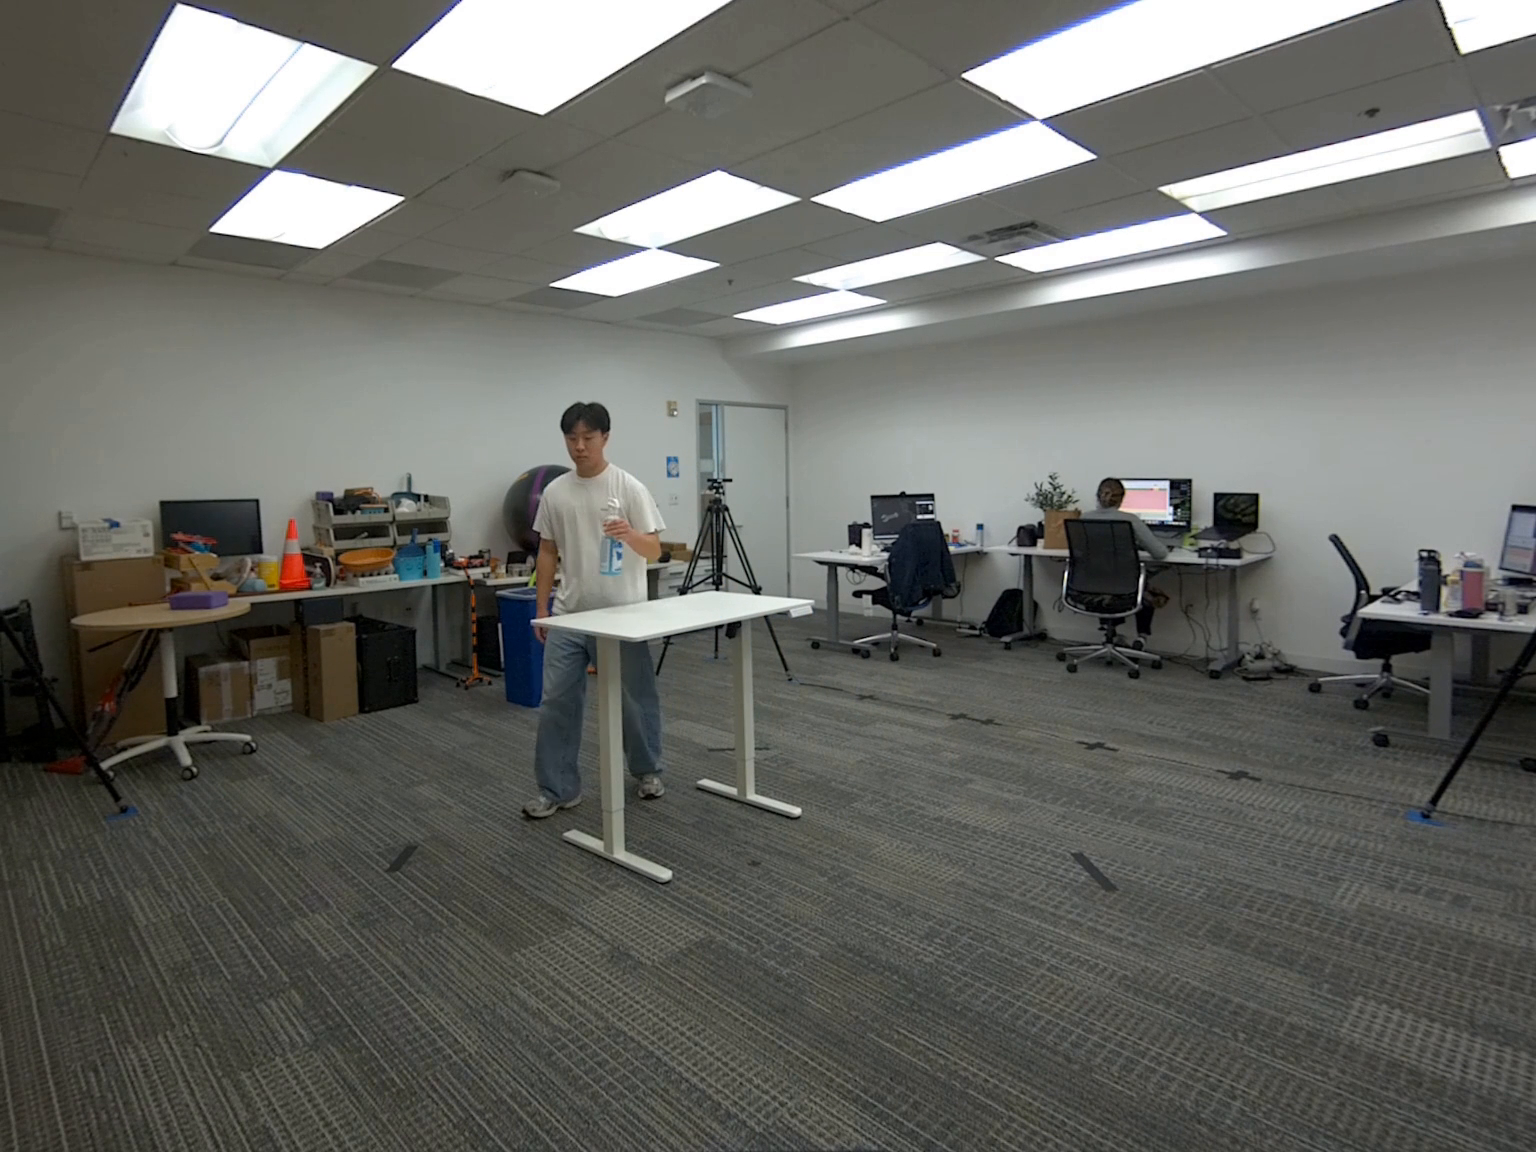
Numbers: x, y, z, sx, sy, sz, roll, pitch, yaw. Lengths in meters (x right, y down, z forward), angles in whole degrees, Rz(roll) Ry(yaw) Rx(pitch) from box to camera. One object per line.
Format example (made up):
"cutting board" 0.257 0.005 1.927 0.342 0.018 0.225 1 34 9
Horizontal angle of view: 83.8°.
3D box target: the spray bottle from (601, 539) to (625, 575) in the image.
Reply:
"spray bottle" -0.600 -0.150 3.331 0.086 0.296 0.091 6 4 -8
